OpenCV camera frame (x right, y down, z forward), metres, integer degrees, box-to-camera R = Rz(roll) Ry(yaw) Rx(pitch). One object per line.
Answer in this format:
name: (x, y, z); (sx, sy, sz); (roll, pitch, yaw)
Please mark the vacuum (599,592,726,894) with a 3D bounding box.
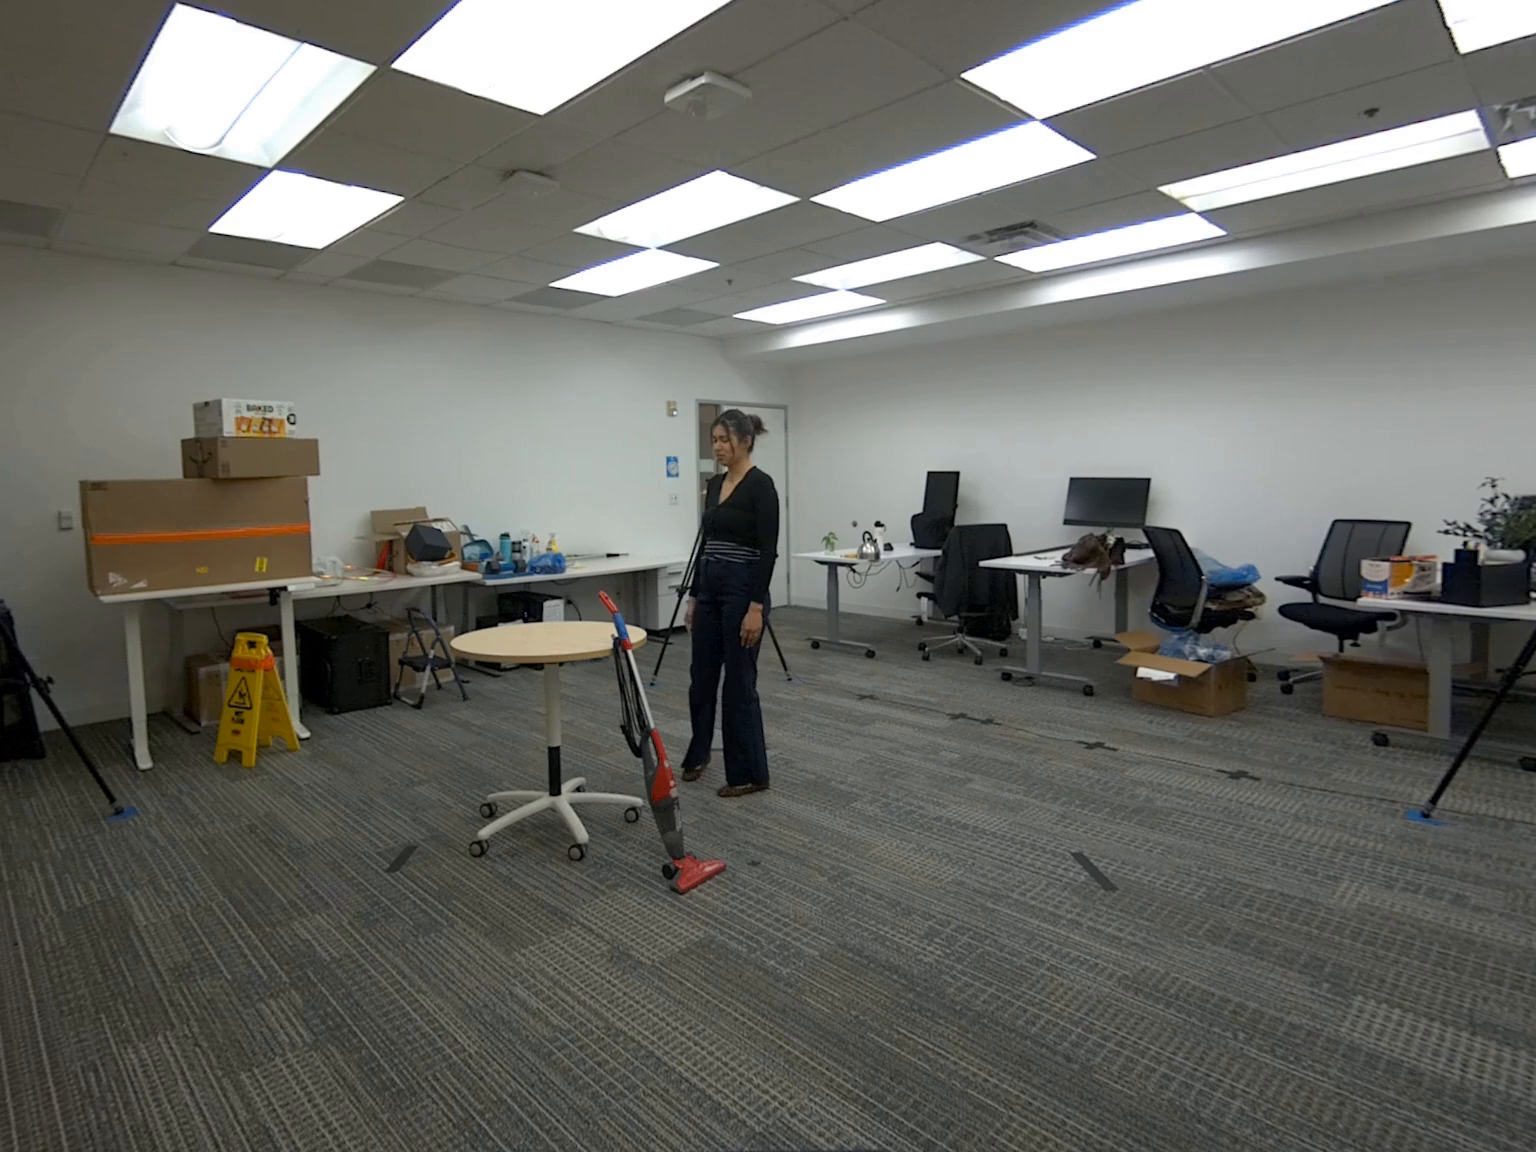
vacuum: (-0.445, 0.567, 3.111); (0.146, 1.063, 0.246); (-28, -14, 39)
